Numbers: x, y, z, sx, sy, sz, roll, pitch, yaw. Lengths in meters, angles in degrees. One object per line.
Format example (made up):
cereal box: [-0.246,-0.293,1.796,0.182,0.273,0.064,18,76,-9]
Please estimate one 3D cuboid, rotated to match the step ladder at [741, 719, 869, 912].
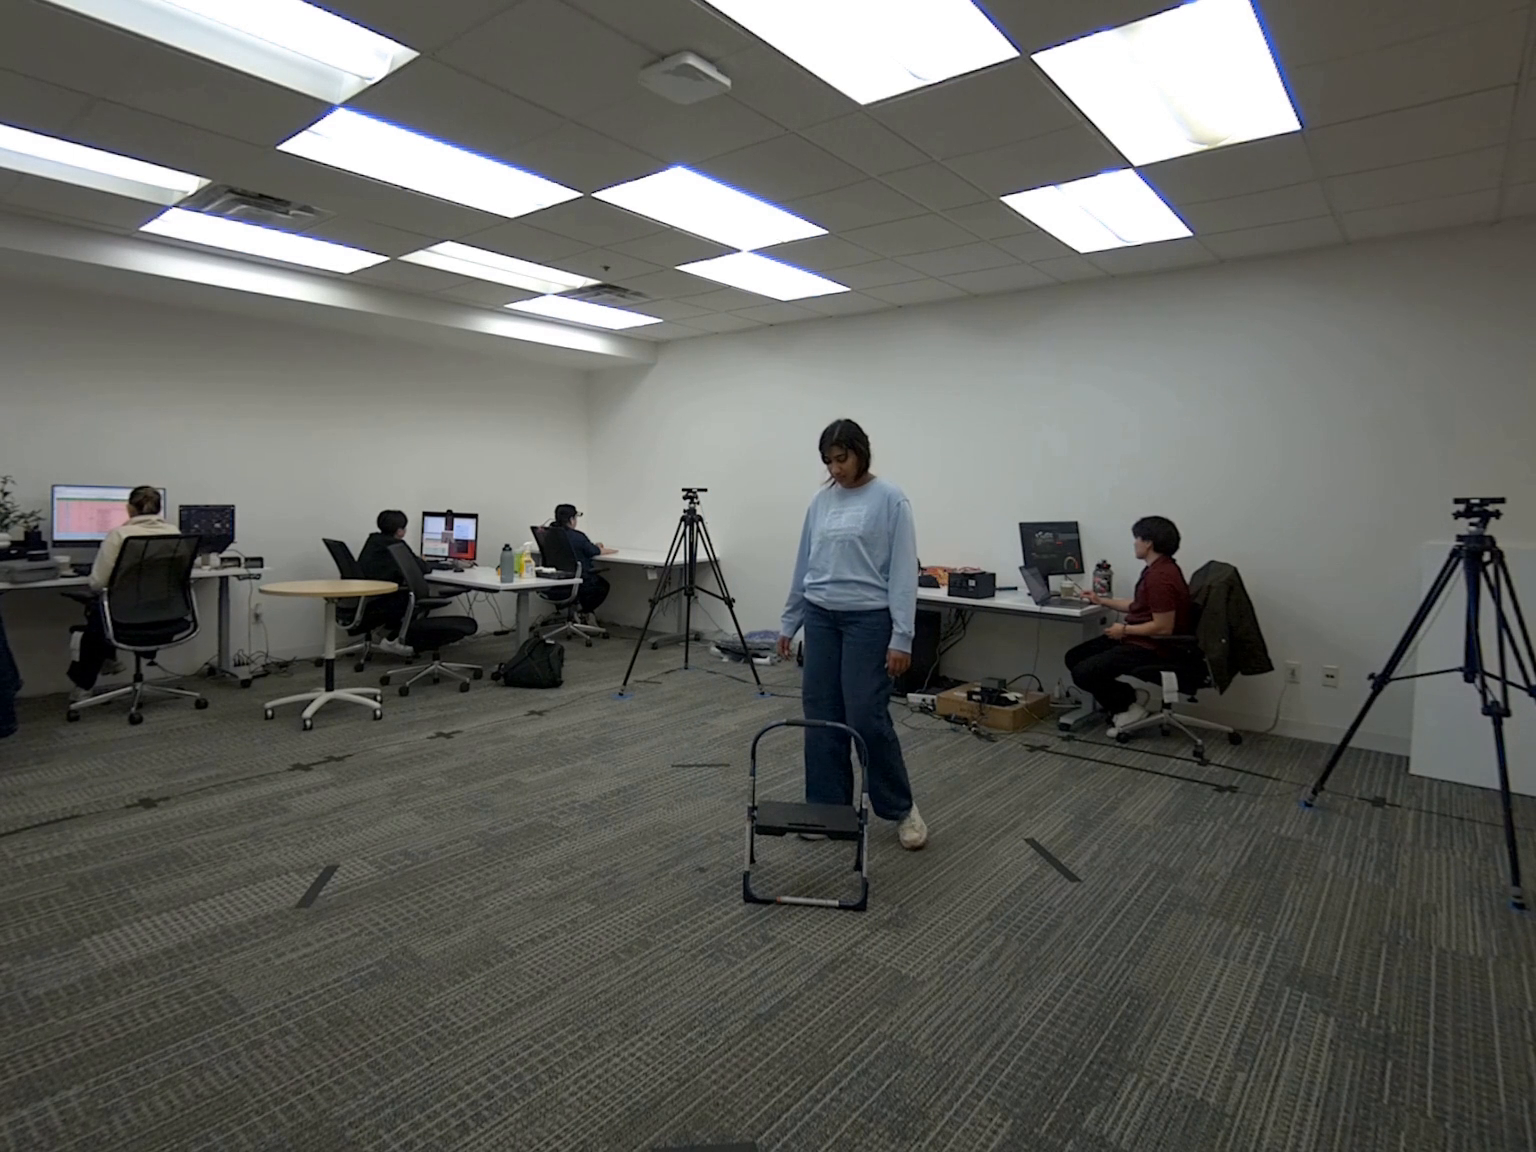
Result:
step ladder: [0.128,0.788,2.990,0.433,0.604,0.348,1,3,4]
